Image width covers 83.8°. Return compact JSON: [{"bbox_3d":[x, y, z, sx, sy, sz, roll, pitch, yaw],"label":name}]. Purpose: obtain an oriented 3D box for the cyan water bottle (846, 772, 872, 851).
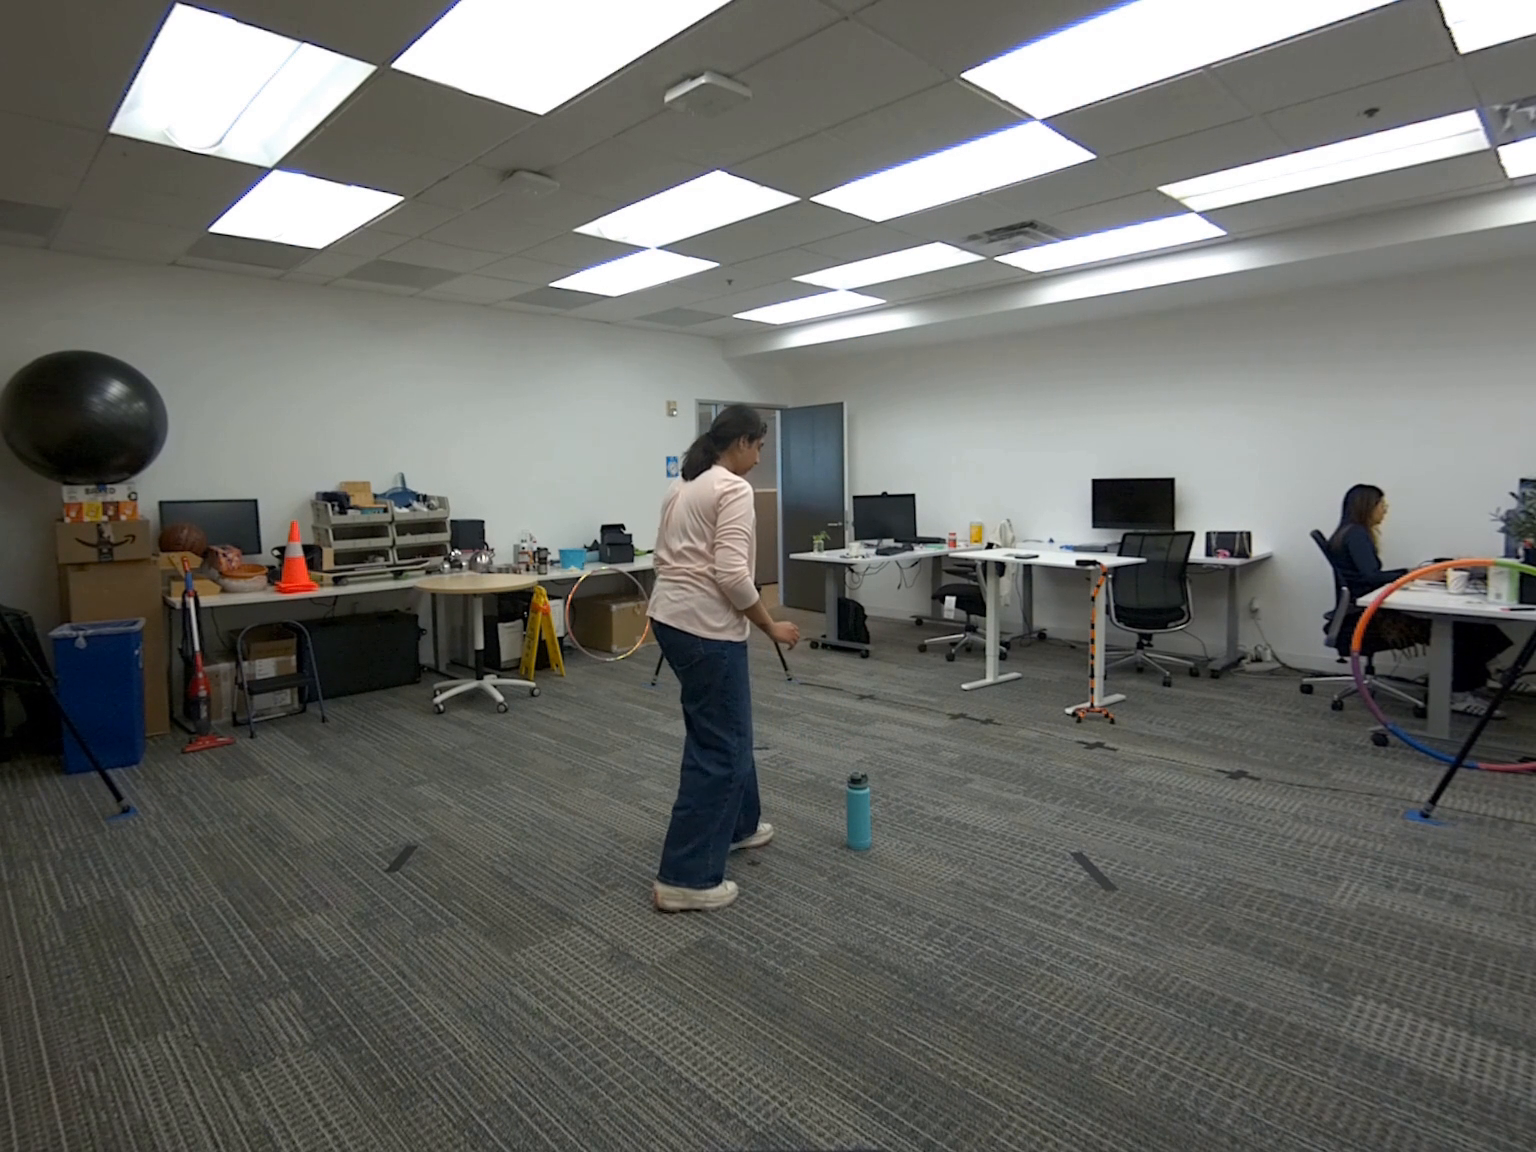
[{"bbox_3d":[0.340,0.877,3.234,0.092,0.282,0.093,-1,3,-2],"label":"cyan water bottle"}]
